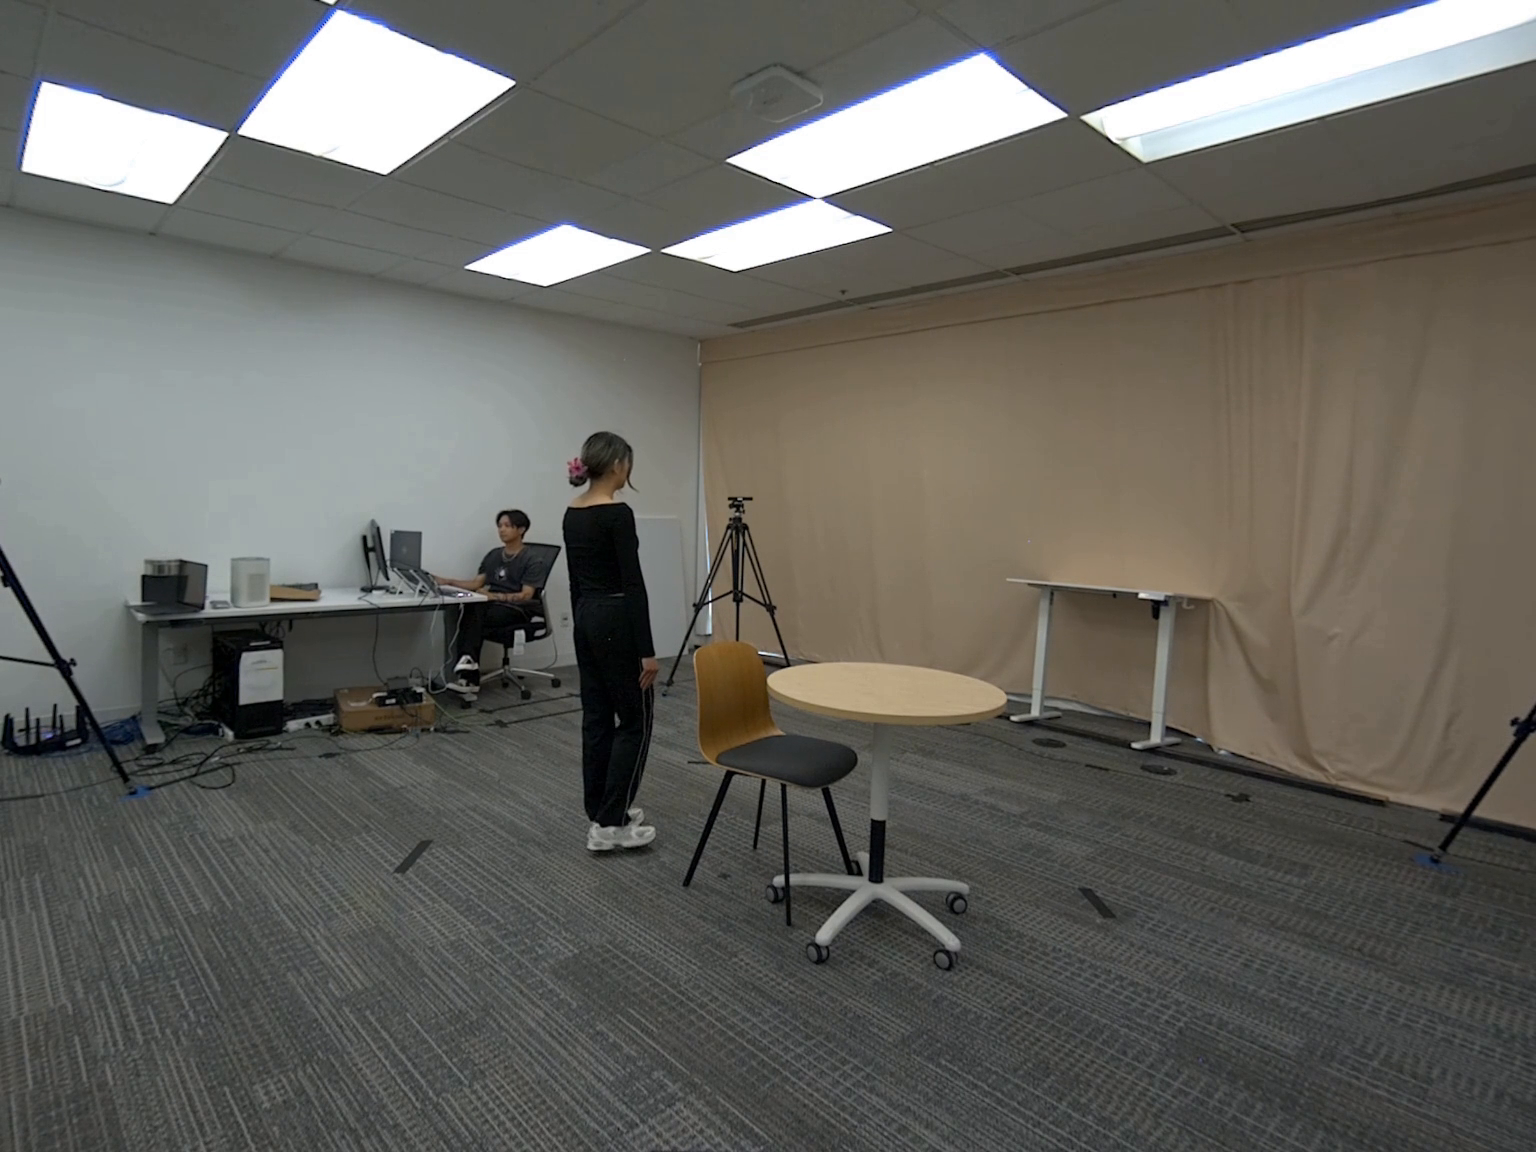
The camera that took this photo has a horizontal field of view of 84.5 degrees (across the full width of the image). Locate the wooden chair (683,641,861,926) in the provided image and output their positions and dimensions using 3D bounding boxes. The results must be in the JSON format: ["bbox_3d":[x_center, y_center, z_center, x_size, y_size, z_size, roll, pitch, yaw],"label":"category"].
[{"bbox_3d":[0.020,0.690,3.020,0.535,0.877,0.467,-2,0,36],"label":"wooden chair"}]
